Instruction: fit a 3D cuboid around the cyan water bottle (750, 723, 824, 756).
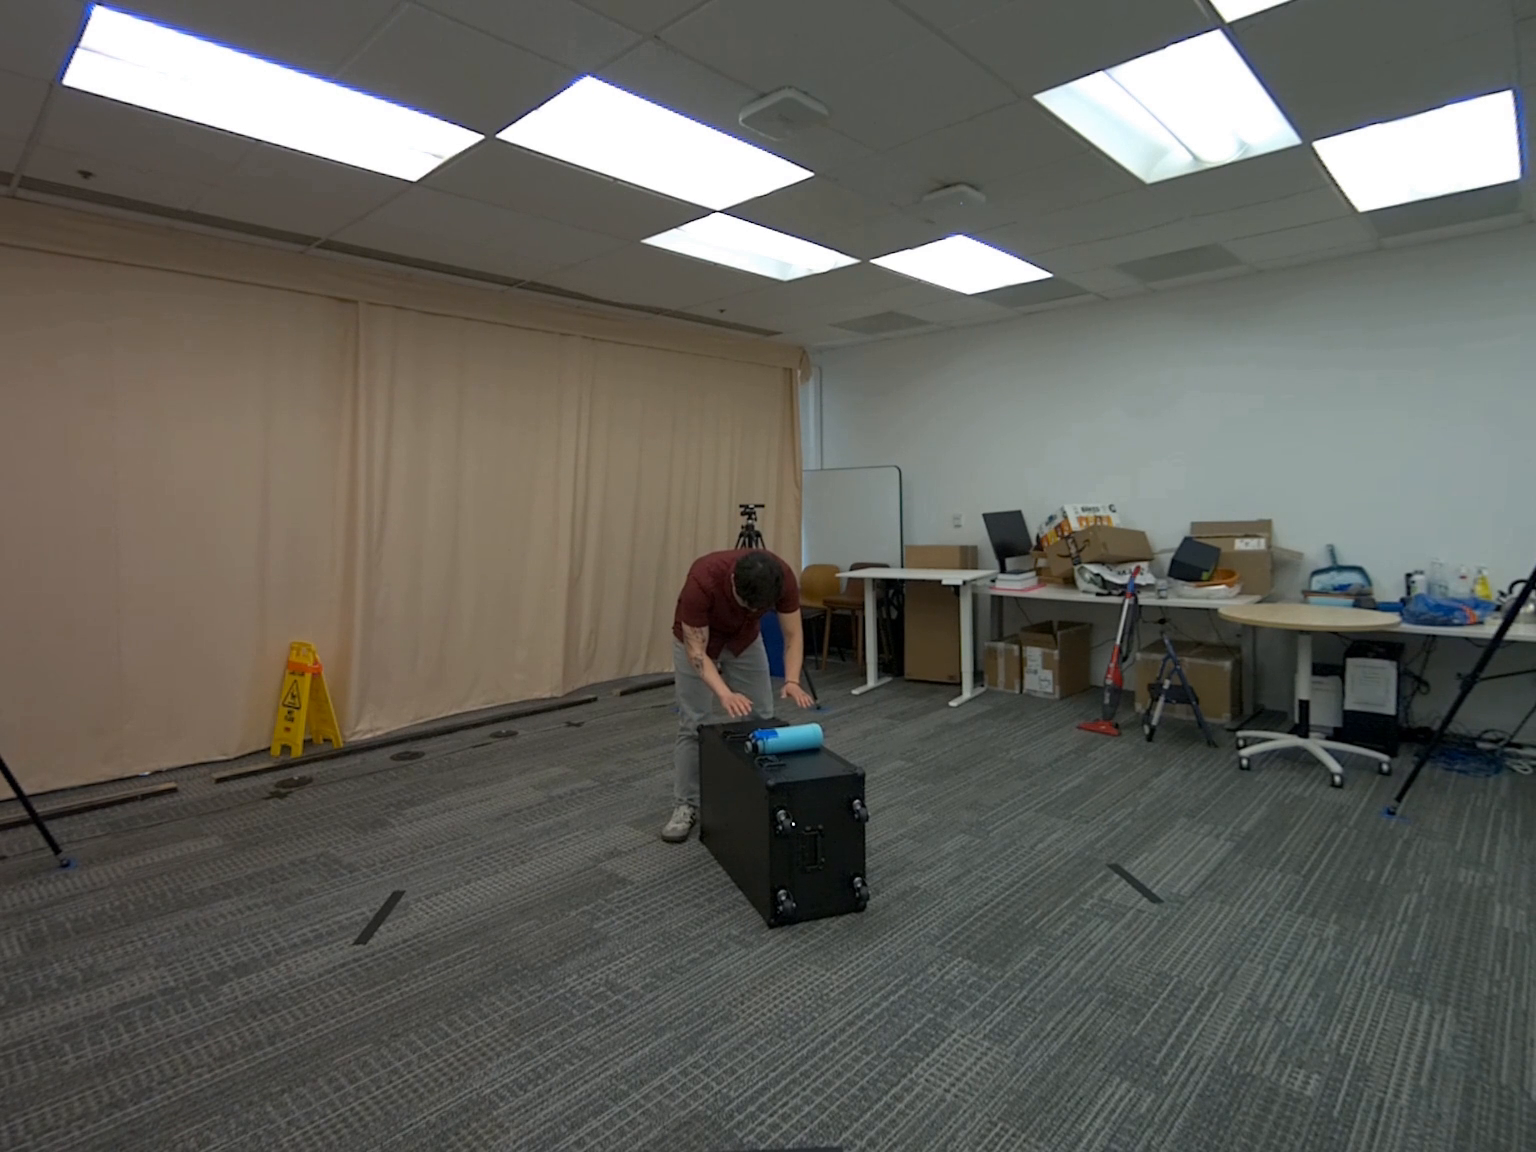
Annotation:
[{"bbox_3d":[0.060,0.596,3.091,0.279,0.092,0.094,-5,5,-15],"label":"cyan water bottle"}]
